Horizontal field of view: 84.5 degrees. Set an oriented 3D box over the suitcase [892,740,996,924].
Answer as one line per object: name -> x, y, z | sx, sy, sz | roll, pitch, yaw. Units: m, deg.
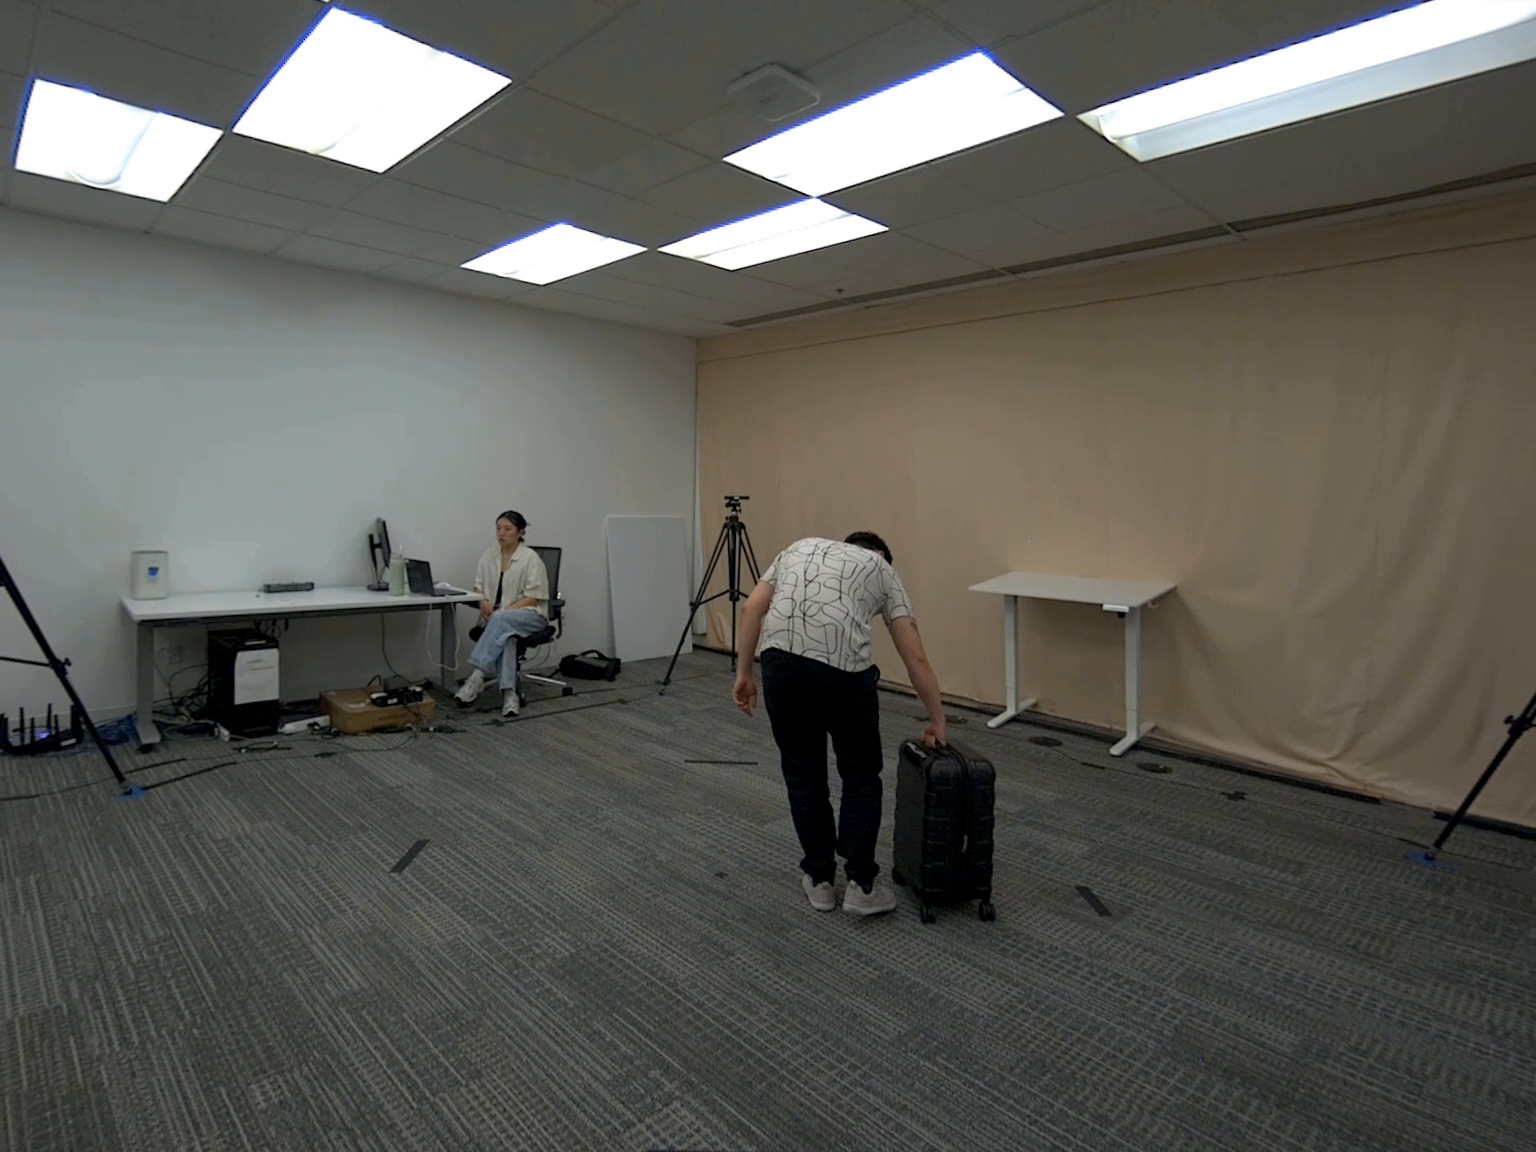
suitcase -> 0.606, 0.858, 2.961 | 0.246, 0.548, 0.379 | 1, 3, -10
